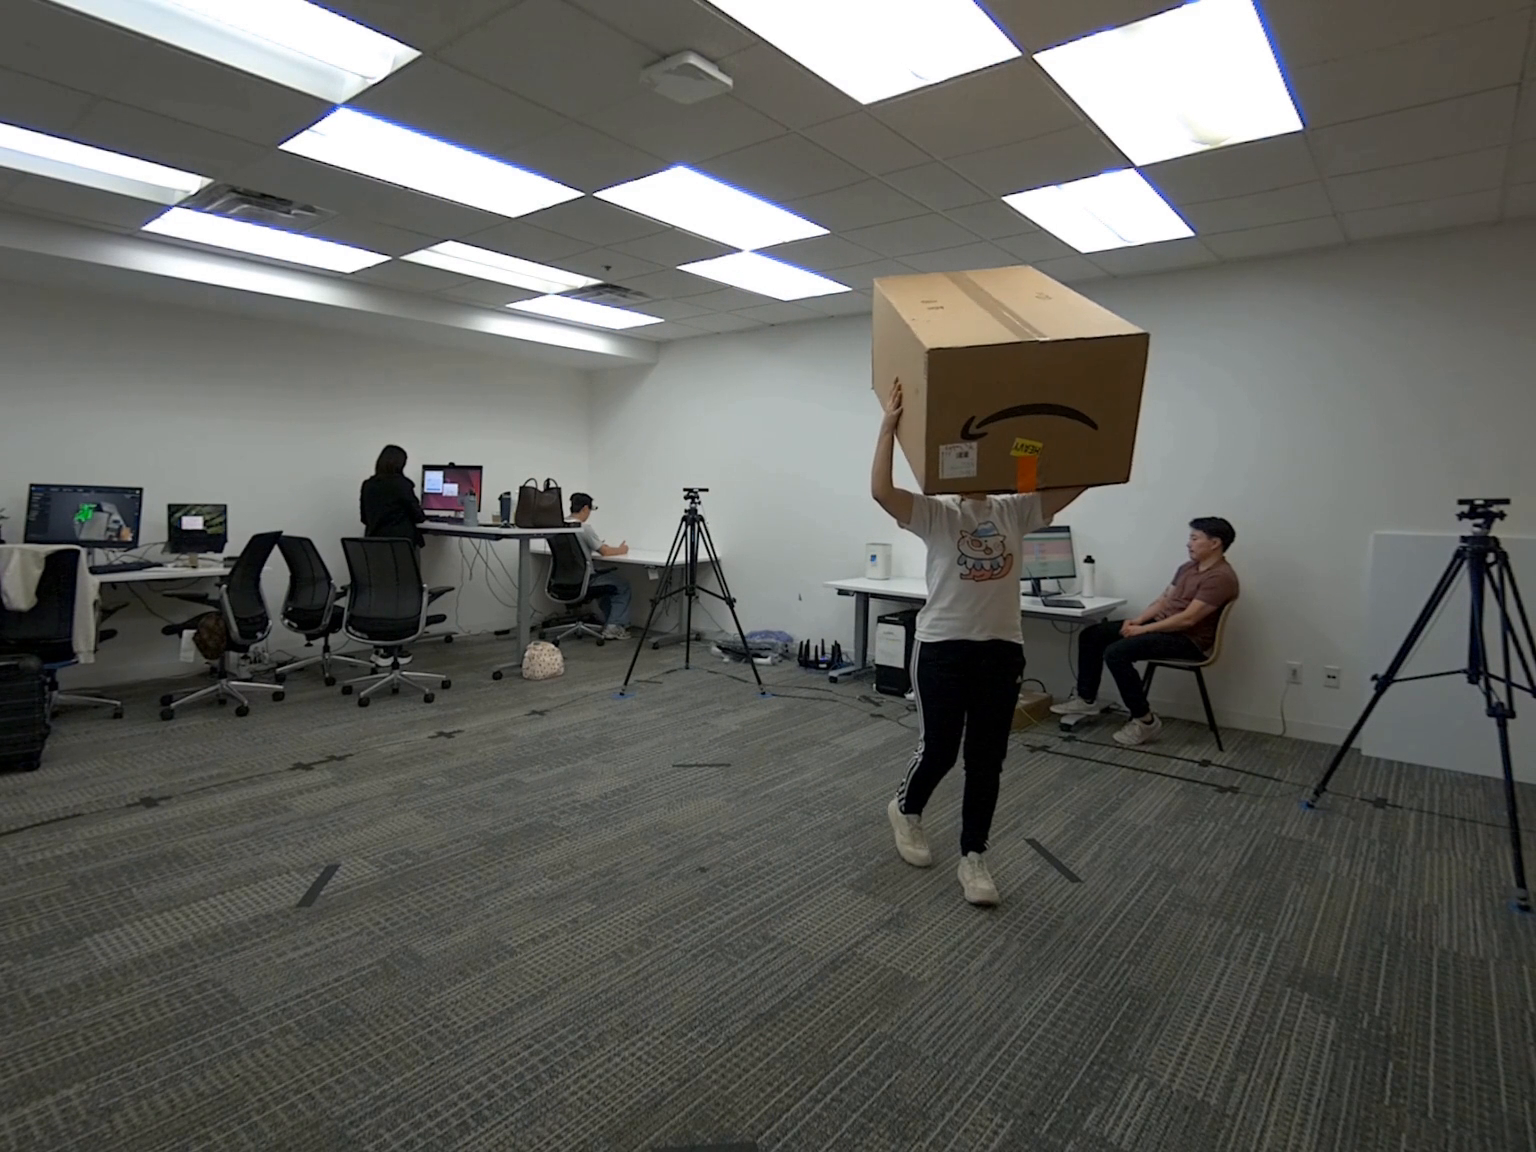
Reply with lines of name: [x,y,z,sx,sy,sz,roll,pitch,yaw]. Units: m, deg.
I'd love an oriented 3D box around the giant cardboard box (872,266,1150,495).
giant cardboard box: [0.692,-0.678,2.756,0.585,0.435,1.052,-4,29,1]
